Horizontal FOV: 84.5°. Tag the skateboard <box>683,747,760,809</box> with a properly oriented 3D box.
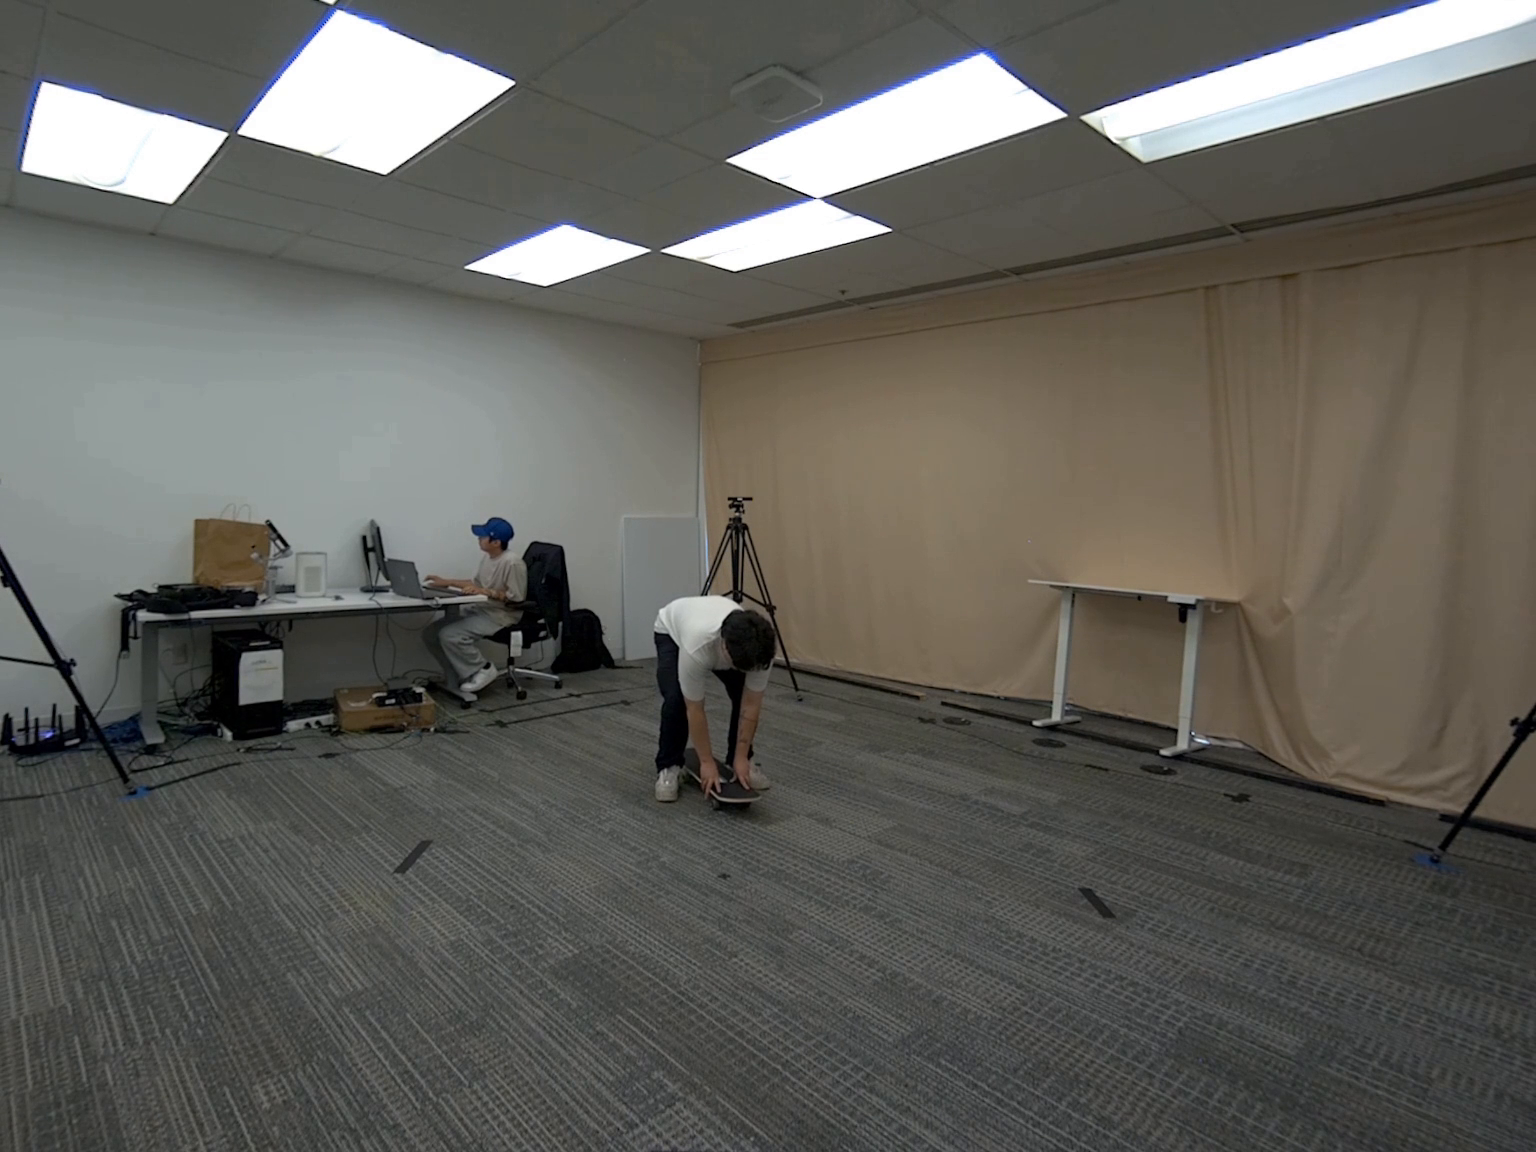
[{"bbox_3d":[-0.267,0.982,3.980,0.190,0.110,0.801,0,5,-24],"label":"skateboard"}]
